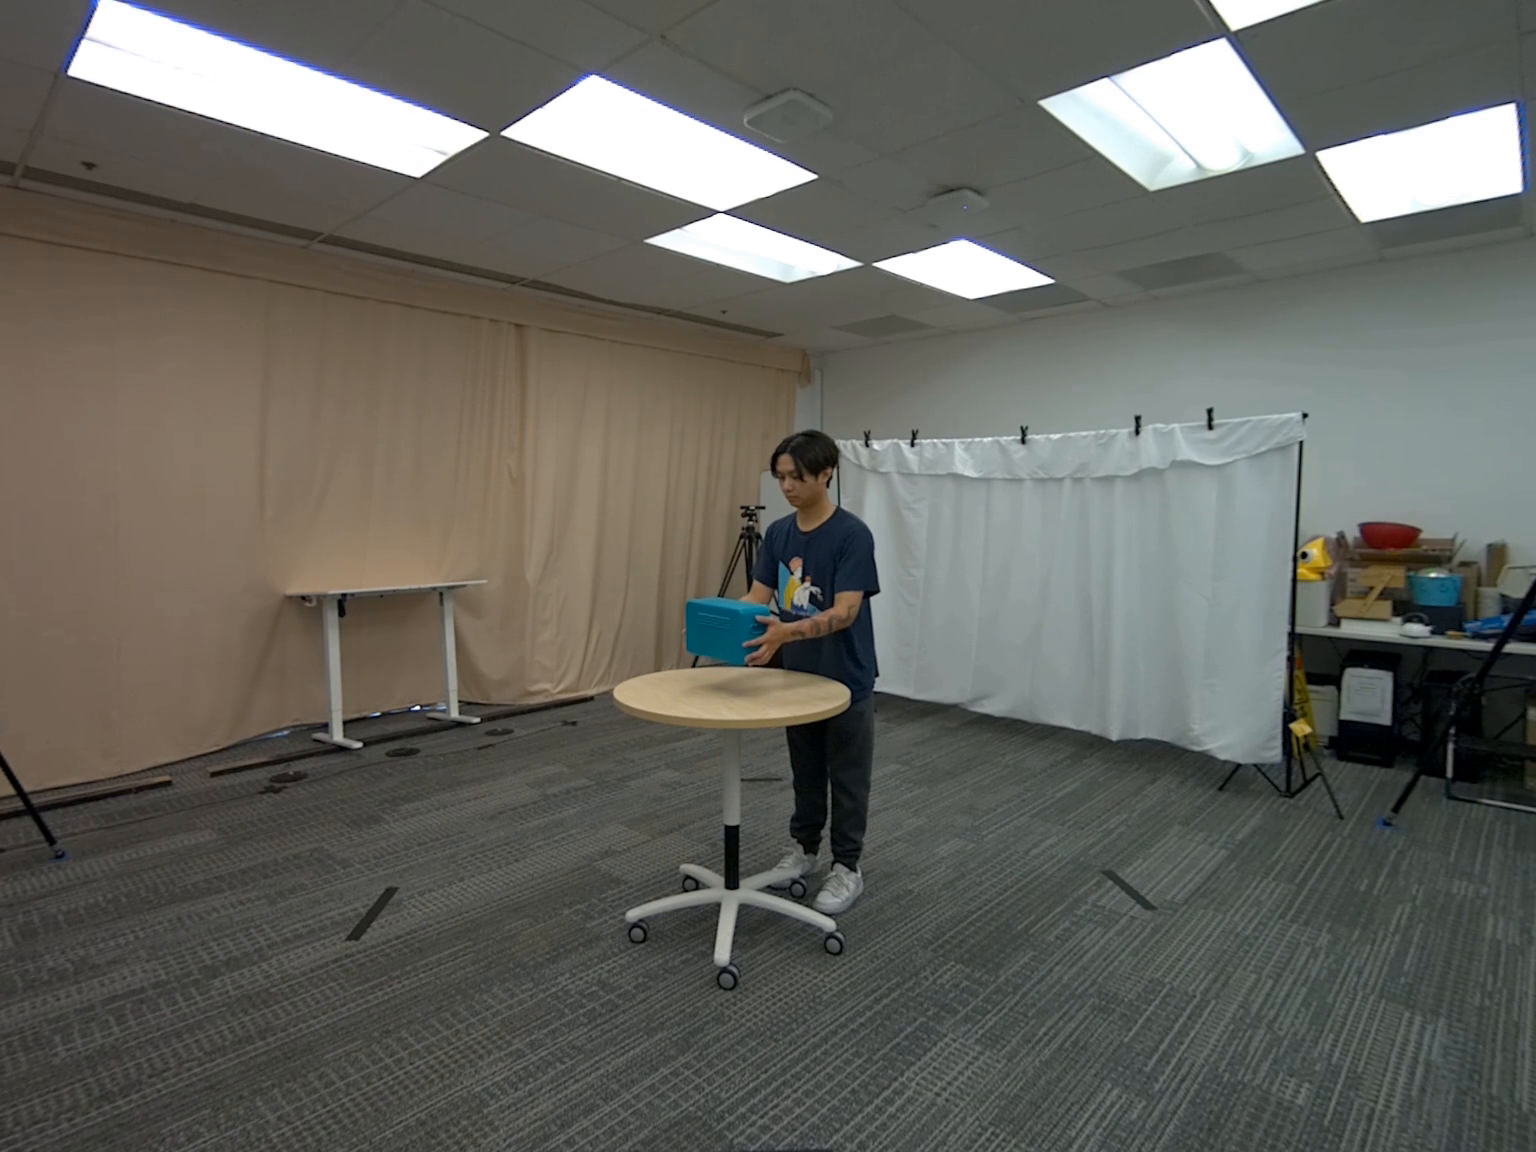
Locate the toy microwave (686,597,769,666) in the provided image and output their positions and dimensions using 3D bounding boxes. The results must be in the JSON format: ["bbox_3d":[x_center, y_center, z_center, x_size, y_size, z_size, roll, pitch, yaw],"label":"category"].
[{"bbox_3d":[-0.123,0.177,2.687,0.148,0.183,0.296,-4,7,-43],"label":"toy microwave"}]
